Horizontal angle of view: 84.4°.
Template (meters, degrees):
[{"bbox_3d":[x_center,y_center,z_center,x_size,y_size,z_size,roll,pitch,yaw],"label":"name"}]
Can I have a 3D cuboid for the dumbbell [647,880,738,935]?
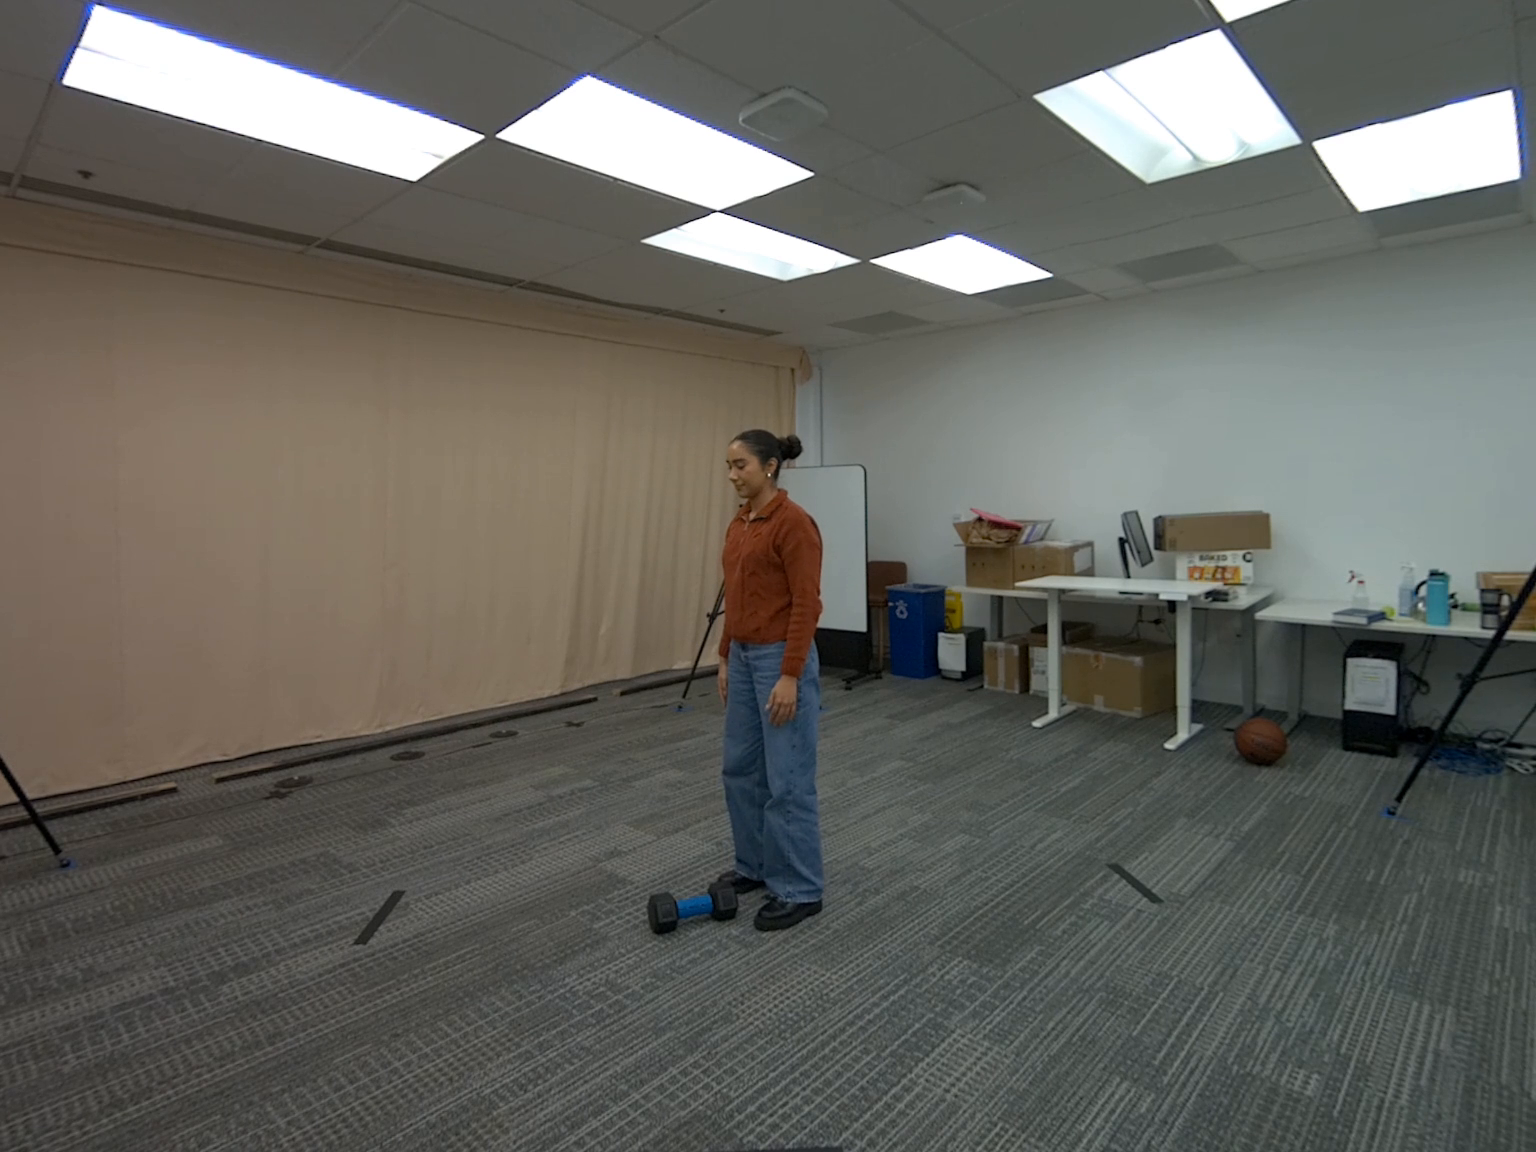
[{"bbox_3d":[-0.249,1.111,2.809,0.287,0.125,0.109,-2,-26,-21],"label":"dumbbell"}]
